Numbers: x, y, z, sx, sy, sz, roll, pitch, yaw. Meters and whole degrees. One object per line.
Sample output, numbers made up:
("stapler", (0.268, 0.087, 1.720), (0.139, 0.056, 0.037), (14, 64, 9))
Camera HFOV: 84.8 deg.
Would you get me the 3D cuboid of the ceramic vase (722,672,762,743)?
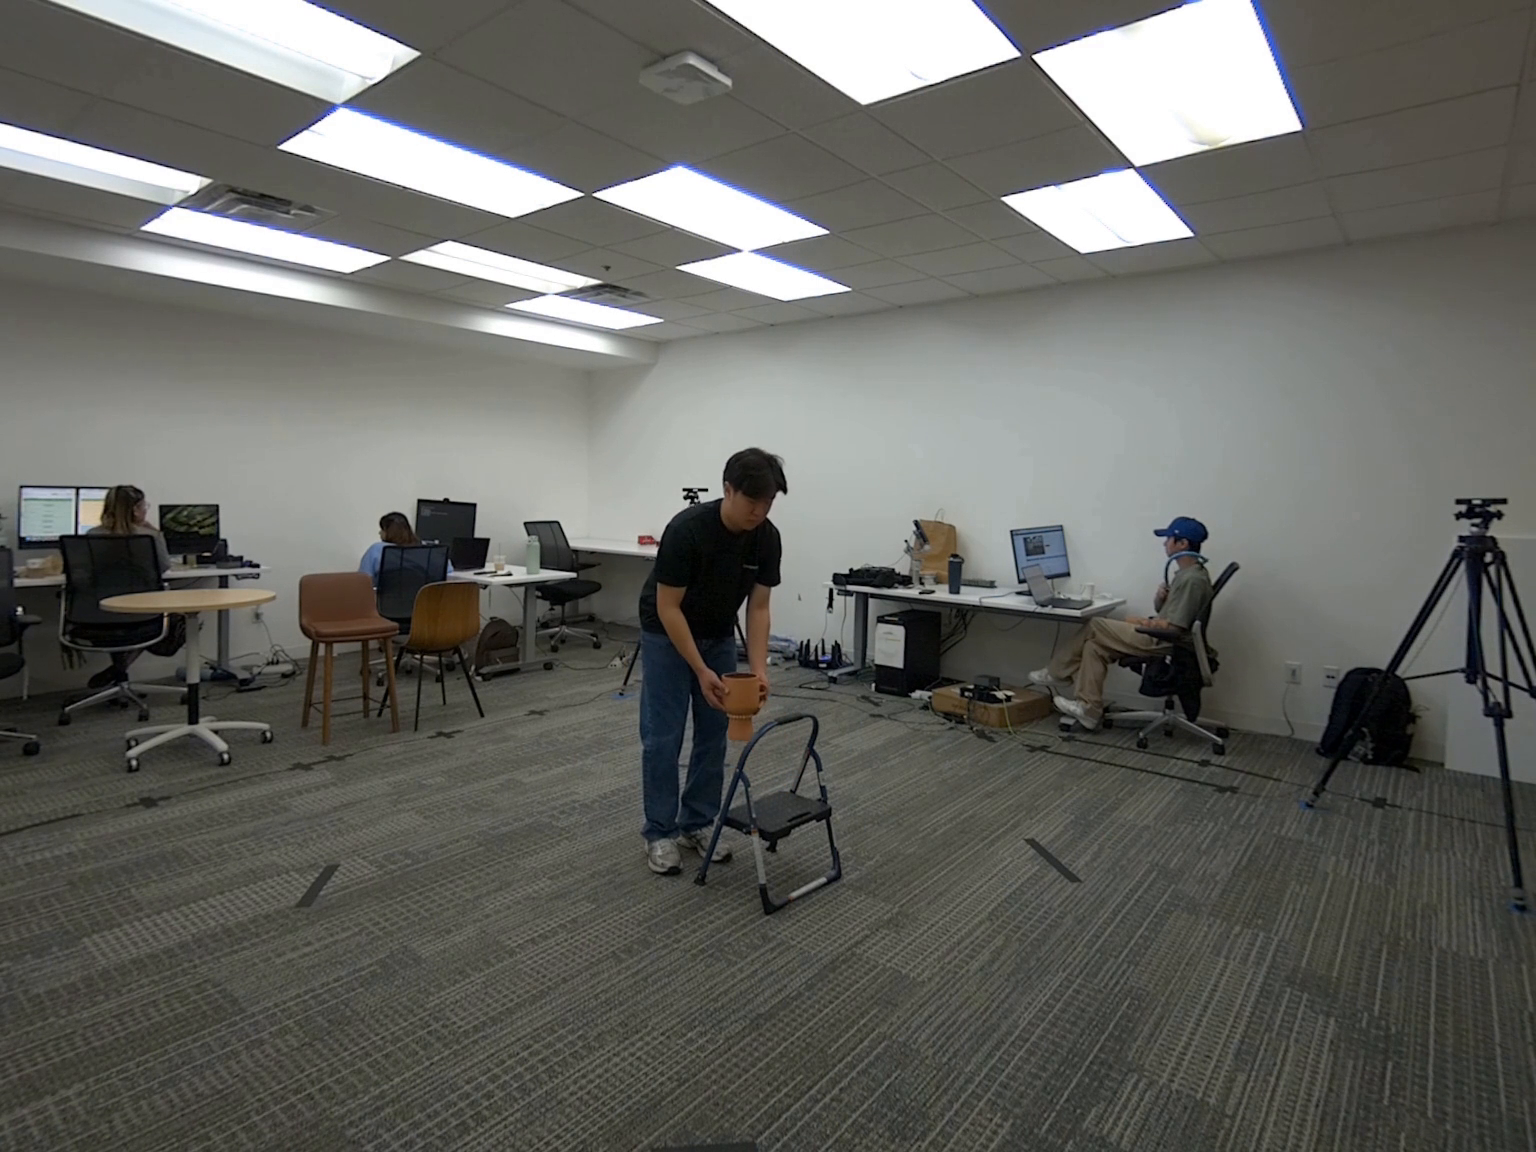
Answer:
("ceramic vase", (-0.104, 0.459, 3.020), (0.163, 0.219, 0.131), (1, 2, 29))
